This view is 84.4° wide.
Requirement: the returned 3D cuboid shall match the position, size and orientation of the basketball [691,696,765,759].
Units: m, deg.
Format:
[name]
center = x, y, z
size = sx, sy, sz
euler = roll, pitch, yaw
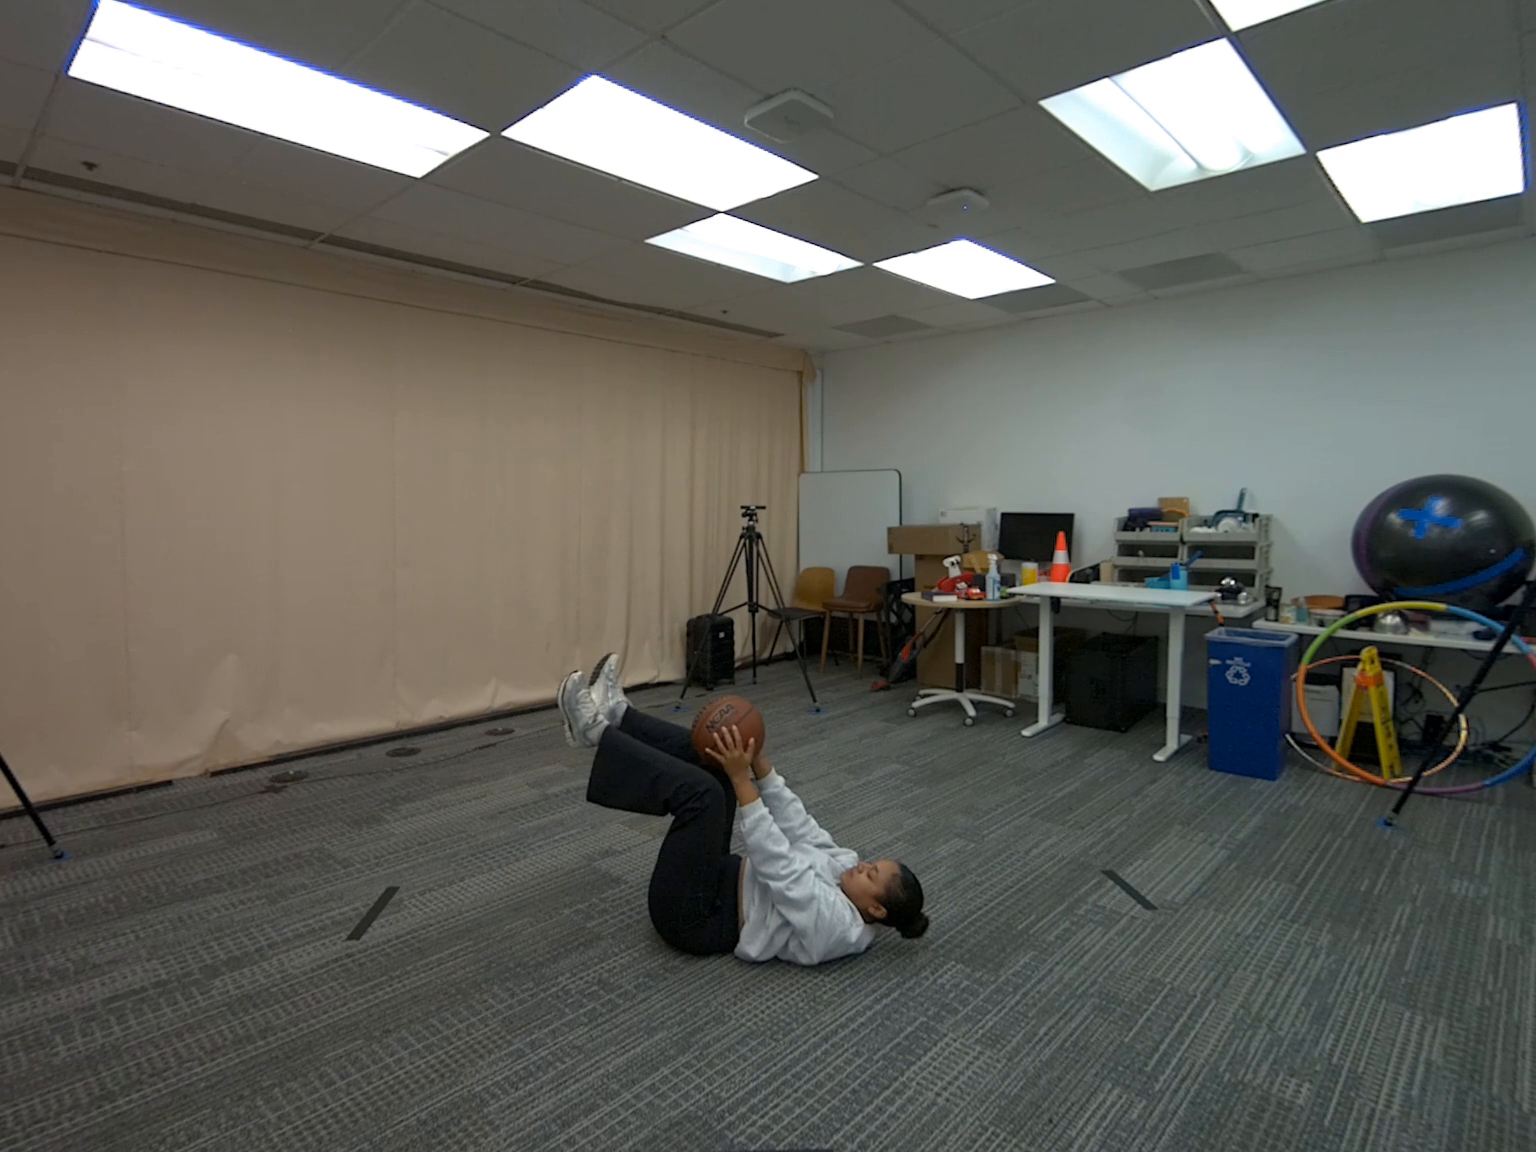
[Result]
[basketball]
center = -0.117, 0.501, 2.706
size = 0.235, 0.235, 0.237
euler = 1, 4, -2
